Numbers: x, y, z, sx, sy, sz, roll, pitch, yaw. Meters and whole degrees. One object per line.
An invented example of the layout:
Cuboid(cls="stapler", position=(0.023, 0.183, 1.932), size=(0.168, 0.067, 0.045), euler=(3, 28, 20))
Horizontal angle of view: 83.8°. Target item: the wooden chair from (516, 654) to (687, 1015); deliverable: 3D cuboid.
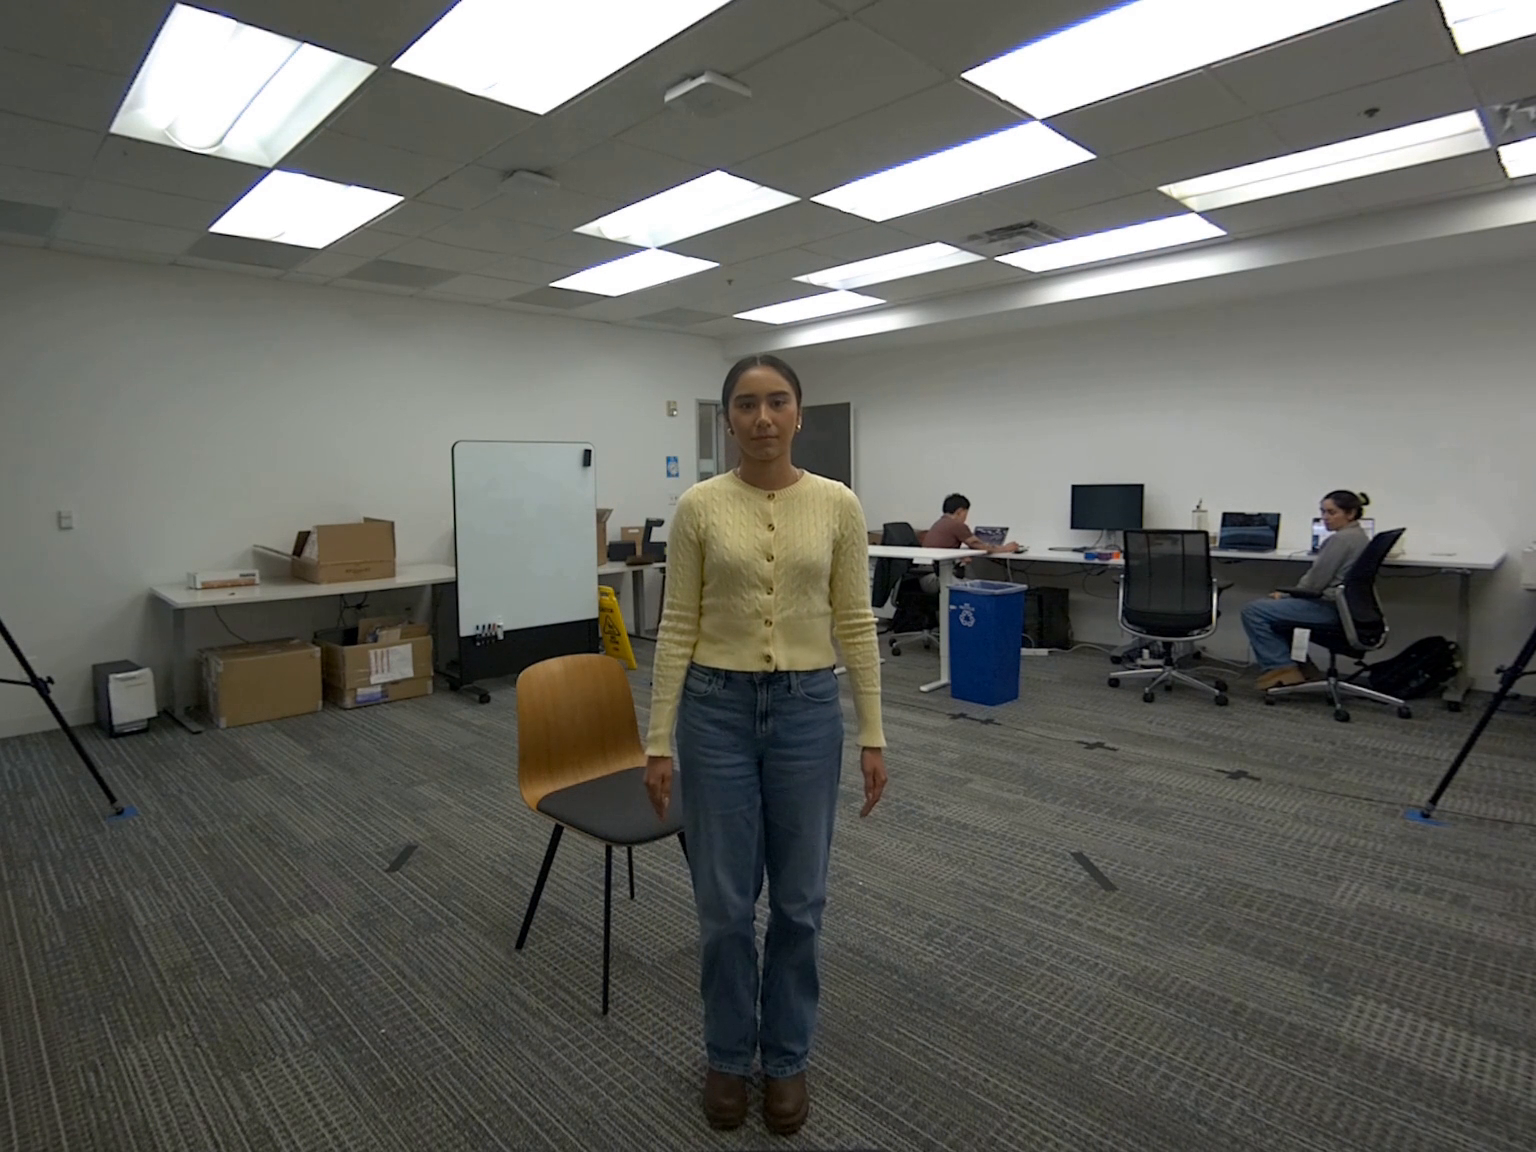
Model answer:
Cuboid(cls="wooden chair", position=(-0.442, 0.692, 2.521), size=(0.538, 0.876, 0.465), euler=(-2, 2, 44))
